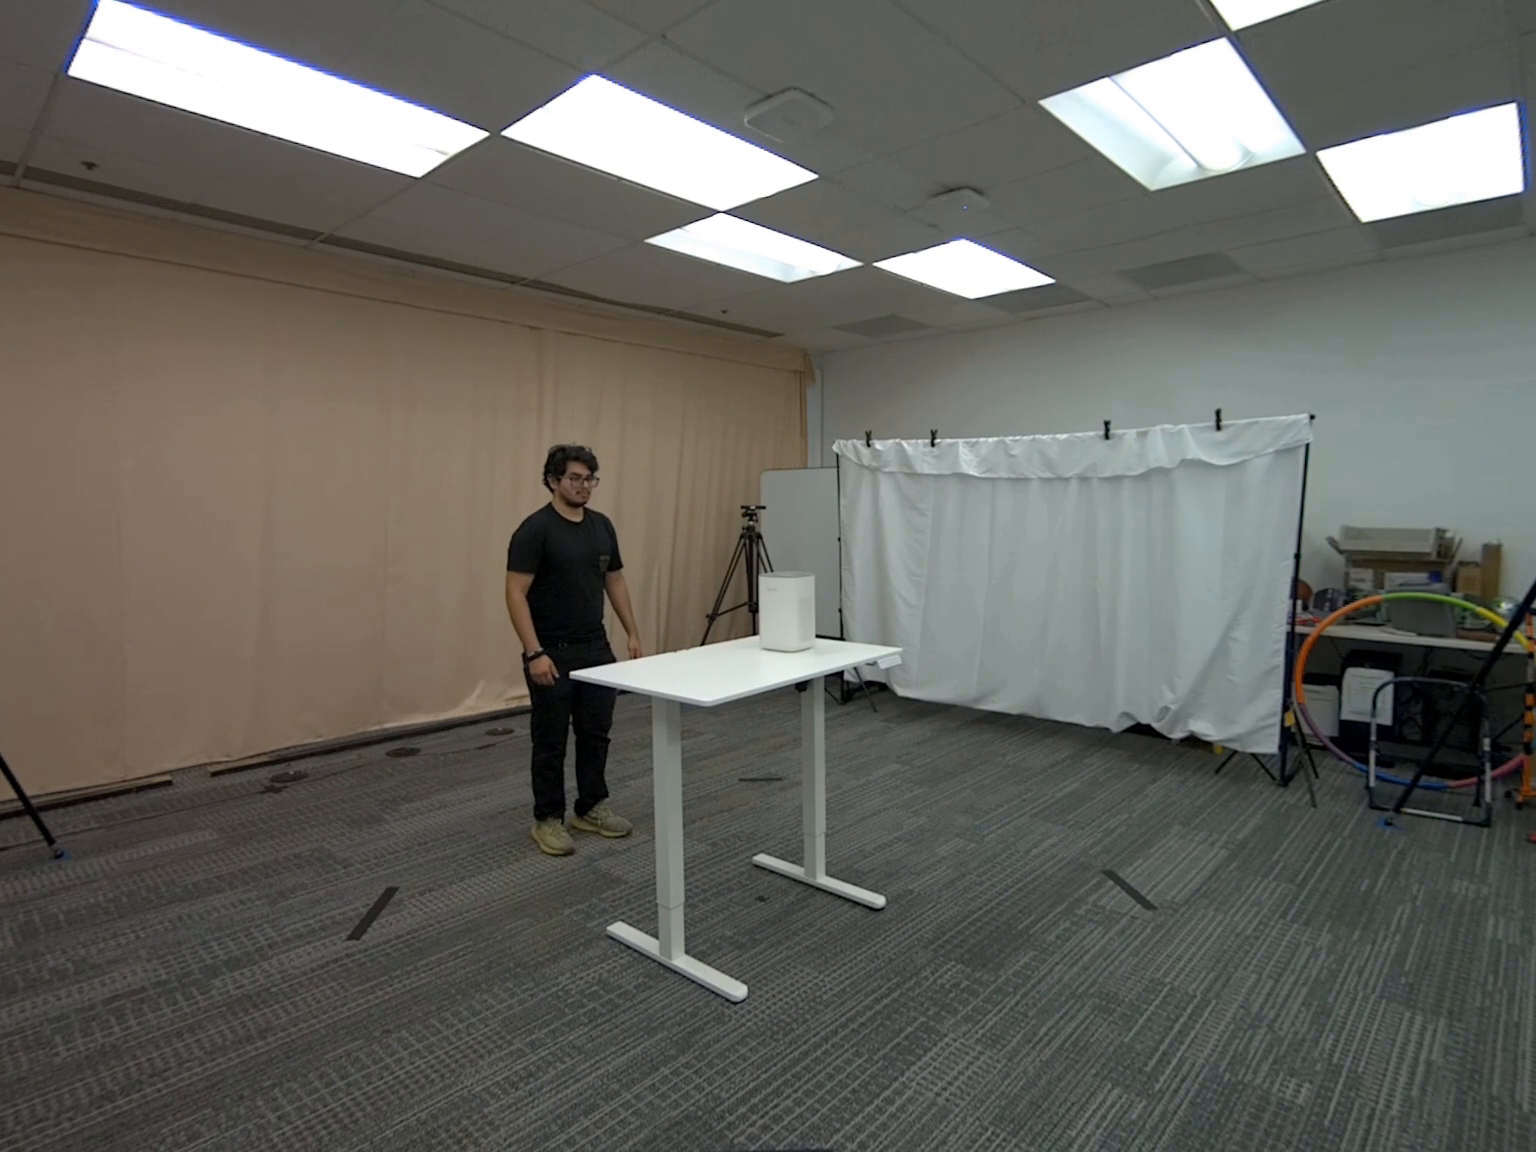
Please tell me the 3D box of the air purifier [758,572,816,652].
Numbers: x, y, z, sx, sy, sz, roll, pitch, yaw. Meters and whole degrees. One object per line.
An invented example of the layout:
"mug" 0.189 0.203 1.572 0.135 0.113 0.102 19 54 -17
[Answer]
"air purifier" 0.074 0.125 2.981 0.176 0.265 0.166 2 5 36
